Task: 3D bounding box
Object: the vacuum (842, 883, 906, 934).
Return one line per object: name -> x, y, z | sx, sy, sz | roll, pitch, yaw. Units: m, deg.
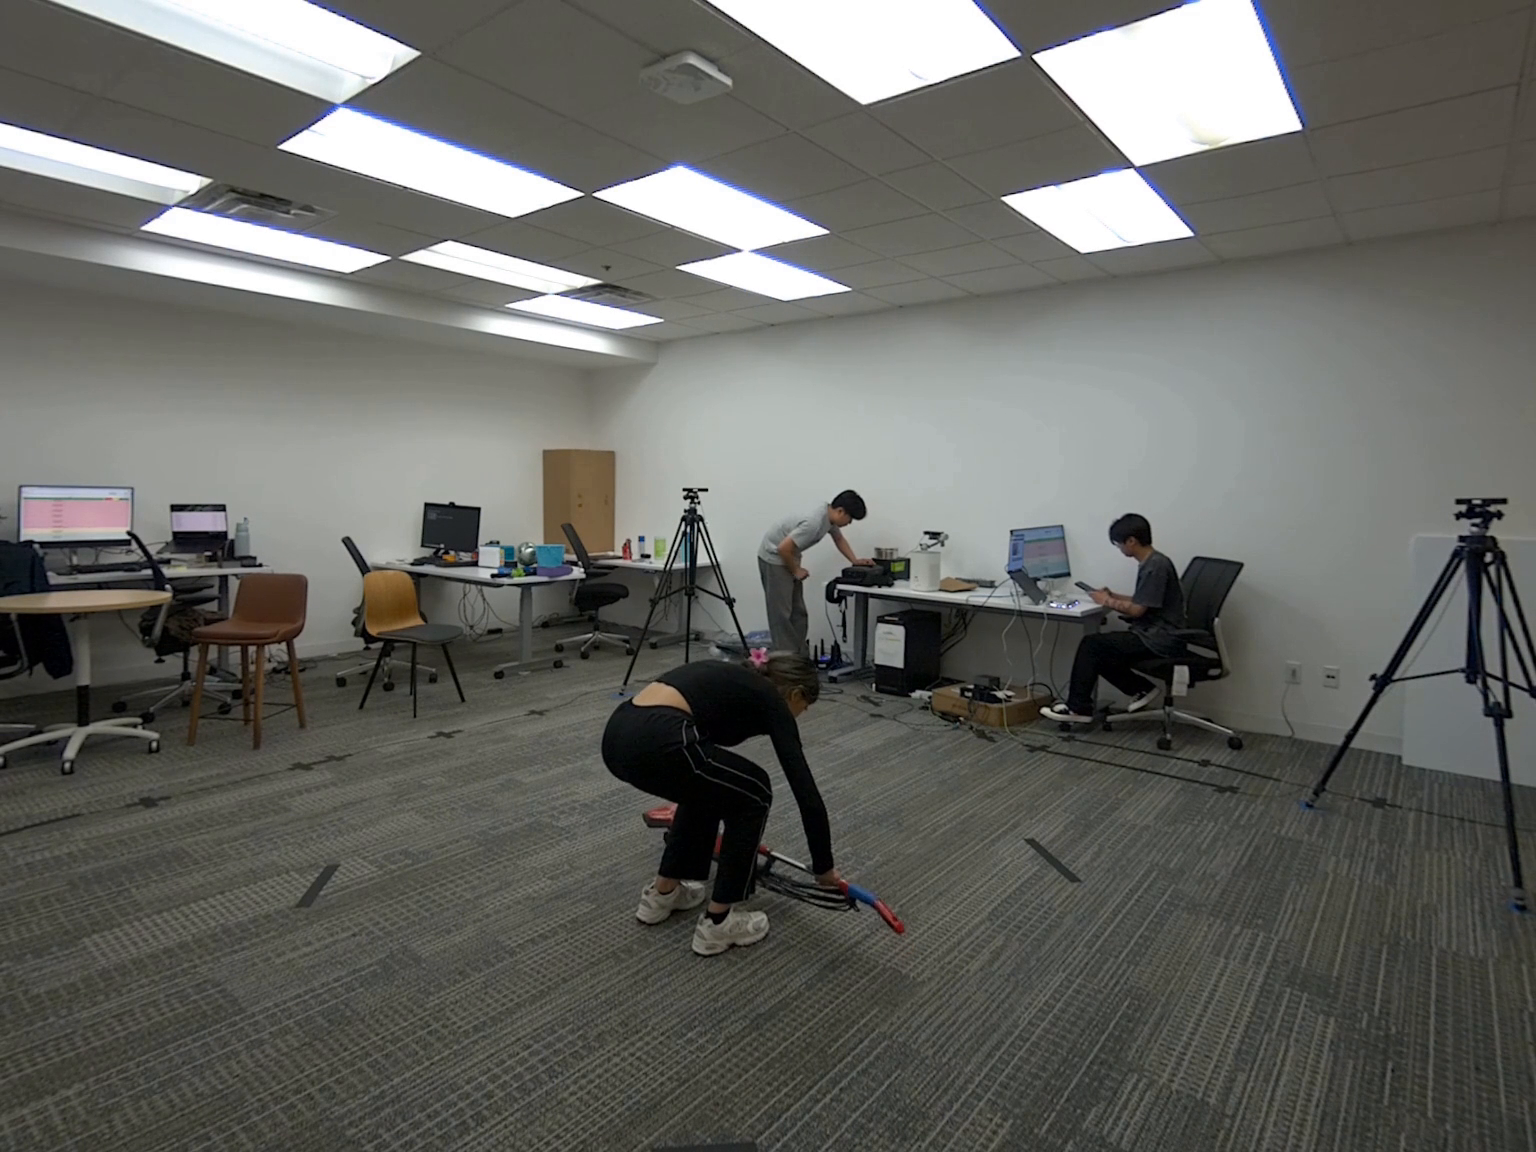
vacuum -> 0.014, 0.962, 2.851 | 0.245, 0.143, 1.086 | -7, 9, -42
